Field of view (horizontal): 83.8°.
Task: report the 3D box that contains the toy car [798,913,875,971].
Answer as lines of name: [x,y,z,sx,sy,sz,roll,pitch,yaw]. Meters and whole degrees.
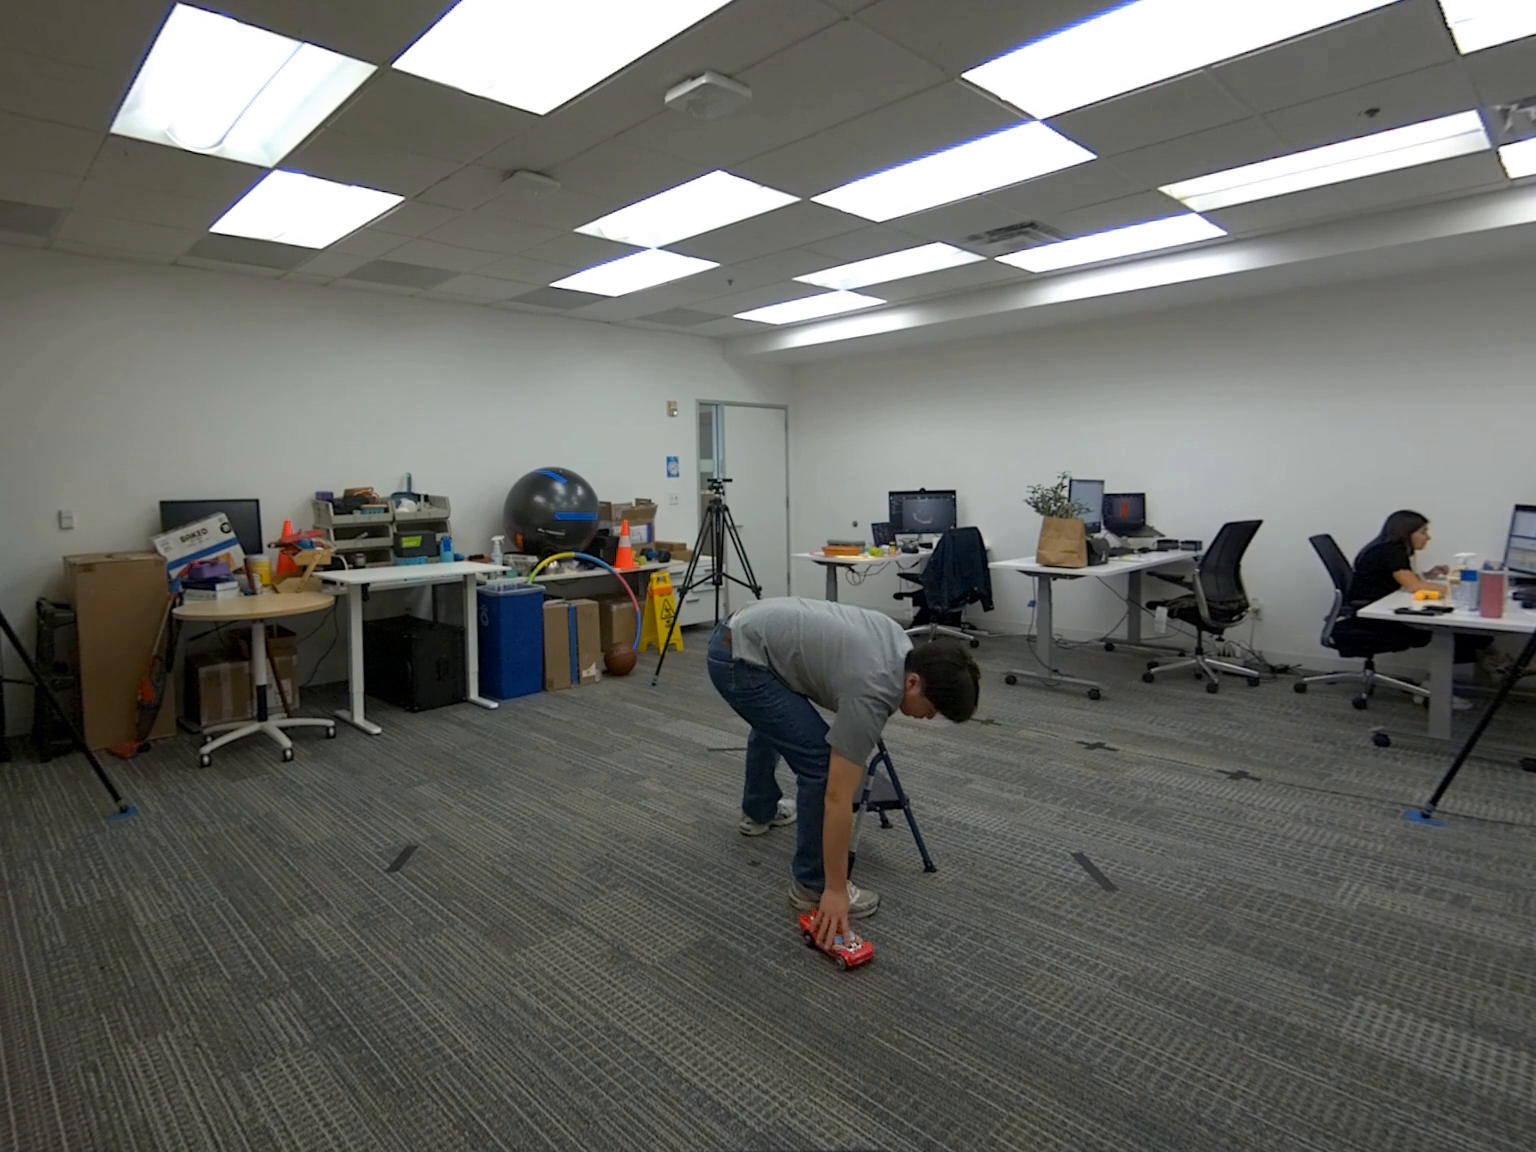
toy car: [0.209,1.074,2.529,0.127,0.082,0.264,-6,20,-33]
